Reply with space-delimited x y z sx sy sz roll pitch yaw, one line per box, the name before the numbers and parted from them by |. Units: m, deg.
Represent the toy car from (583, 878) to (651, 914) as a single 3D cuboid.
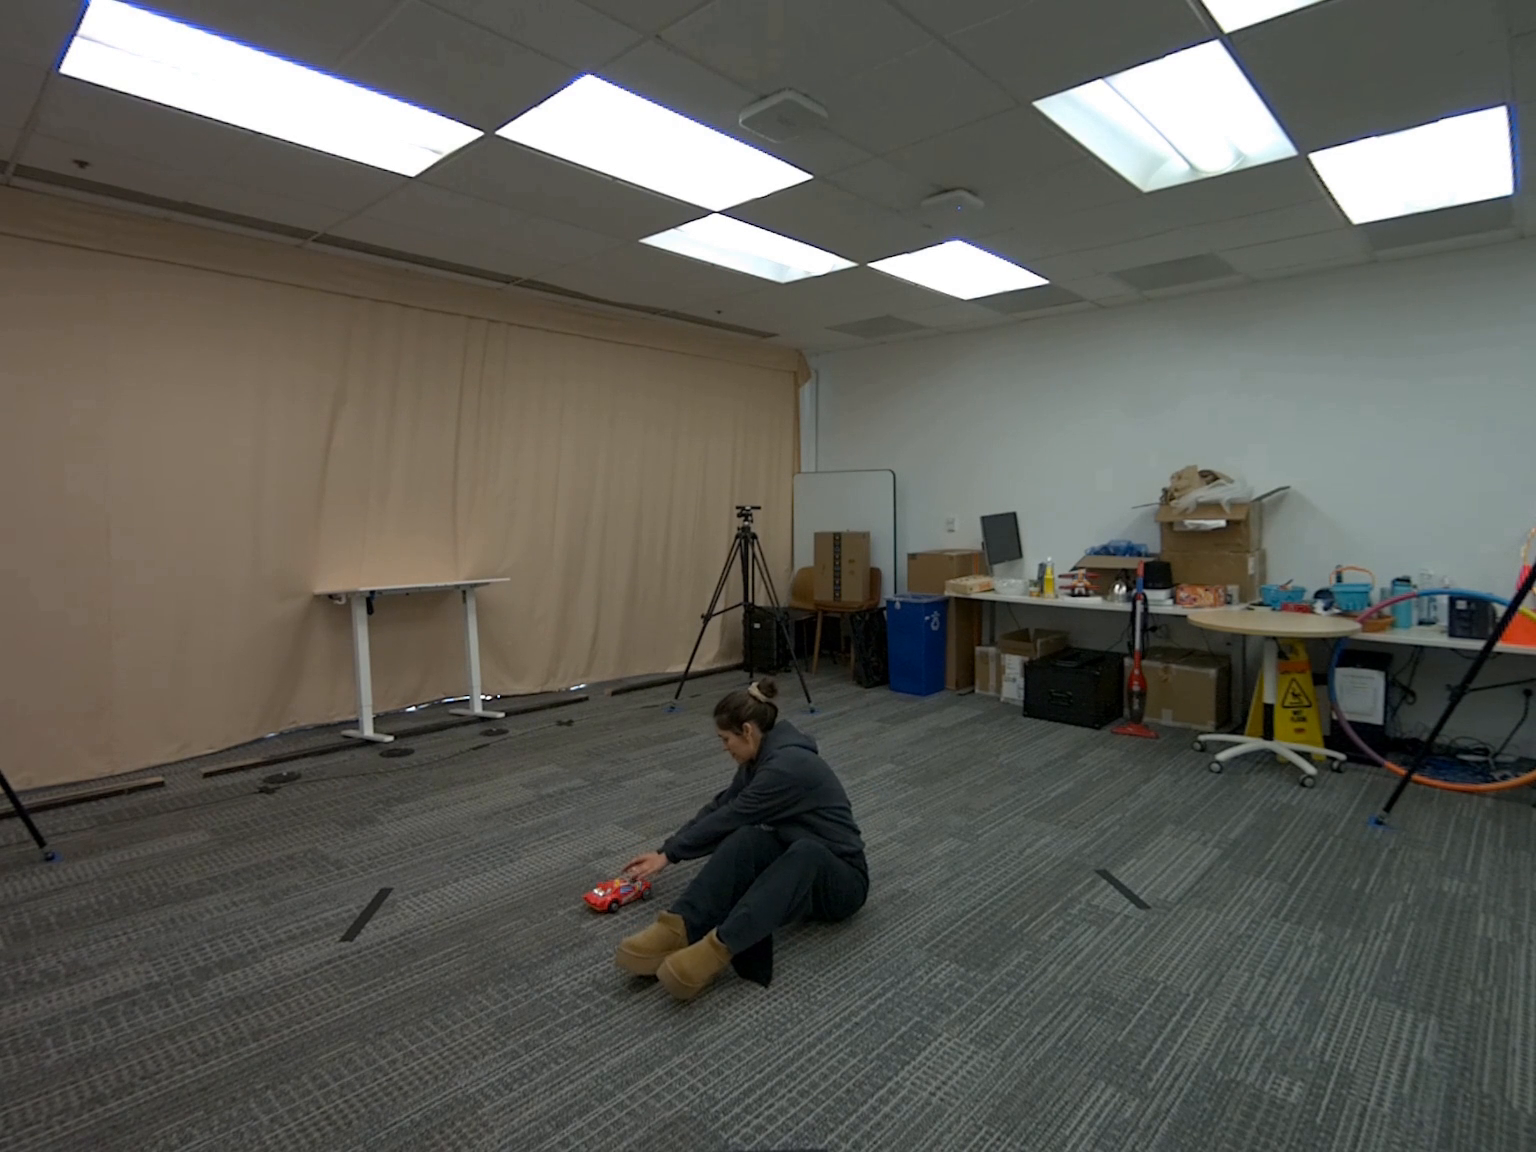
toy car | -0.517 1.124 2.957 0.246 0.083 0.134 12 -7 -43
